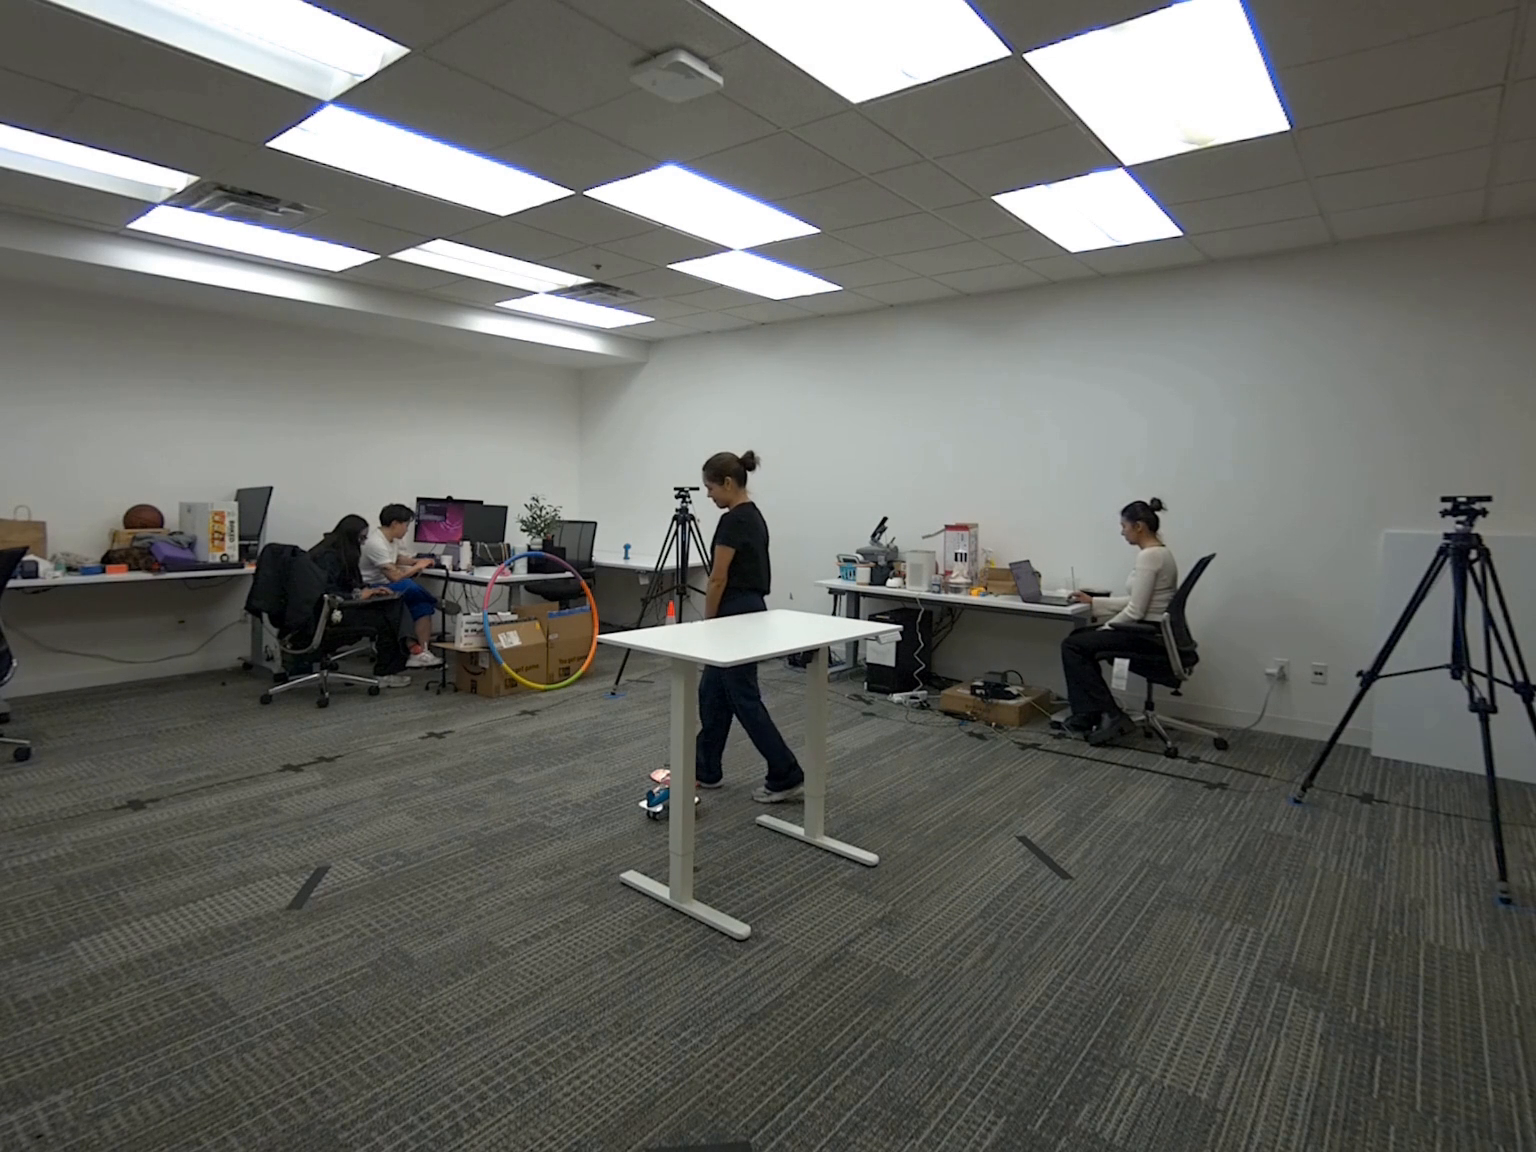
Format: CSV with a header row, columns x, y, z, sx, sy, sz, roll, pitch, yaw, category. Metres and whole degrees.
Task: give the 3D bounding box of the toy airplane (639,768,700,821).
x,y,z,sx,sy,sz,roll,pitch,yaw,category
-0.387,0.933,3.643,0.255,0.156,0.256,2,4,12,toy airplane
